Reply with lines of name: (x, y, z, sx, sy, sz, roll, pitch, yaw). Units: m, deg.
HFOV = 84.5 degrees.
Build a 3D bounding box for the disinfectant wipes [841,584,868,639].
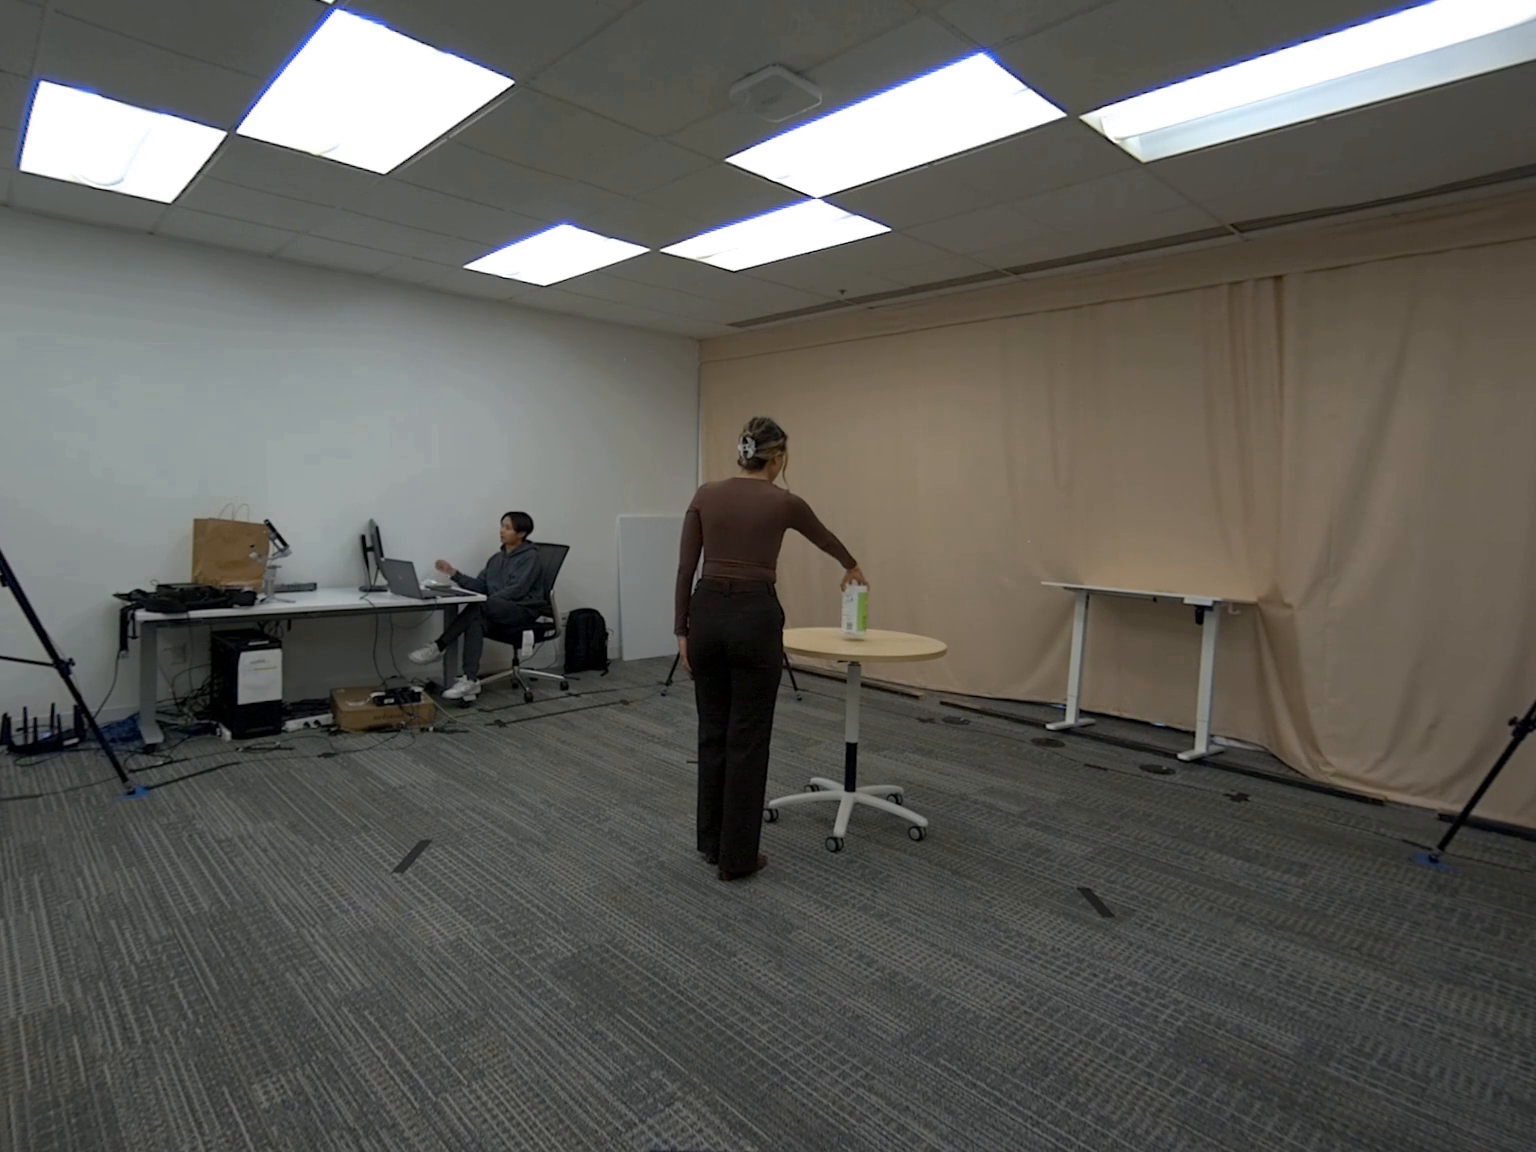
disinfectant wipes: (0.368, 0.146, 3.625, 0.118, 0.217, 0.118, 1, 3, -1)
